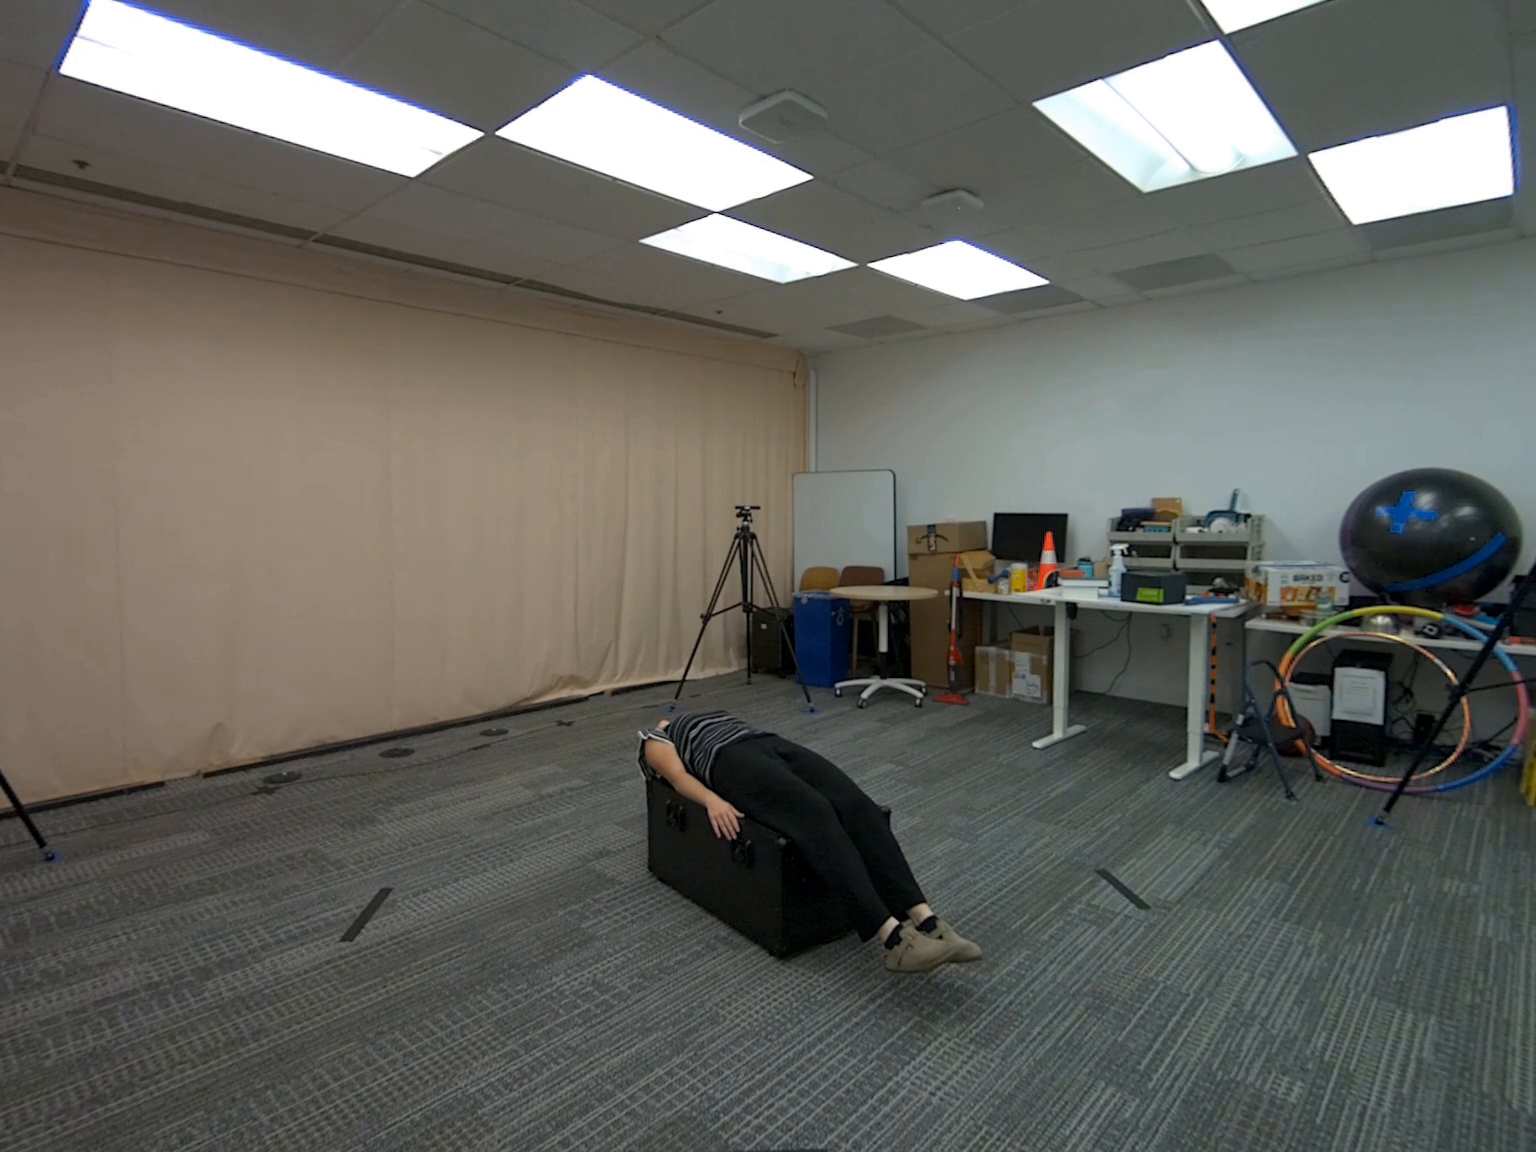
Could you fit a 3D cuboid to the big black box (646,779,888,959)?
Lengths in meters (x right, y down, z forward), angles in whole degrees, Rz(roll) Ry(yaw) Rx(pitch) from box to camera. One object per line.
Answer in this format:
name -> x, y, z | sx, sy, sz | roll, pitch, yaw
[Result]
big black box -> -0.042, 0.958, 3.025 | 0.506, 0.395, 0.890 | -6, 7, -37
